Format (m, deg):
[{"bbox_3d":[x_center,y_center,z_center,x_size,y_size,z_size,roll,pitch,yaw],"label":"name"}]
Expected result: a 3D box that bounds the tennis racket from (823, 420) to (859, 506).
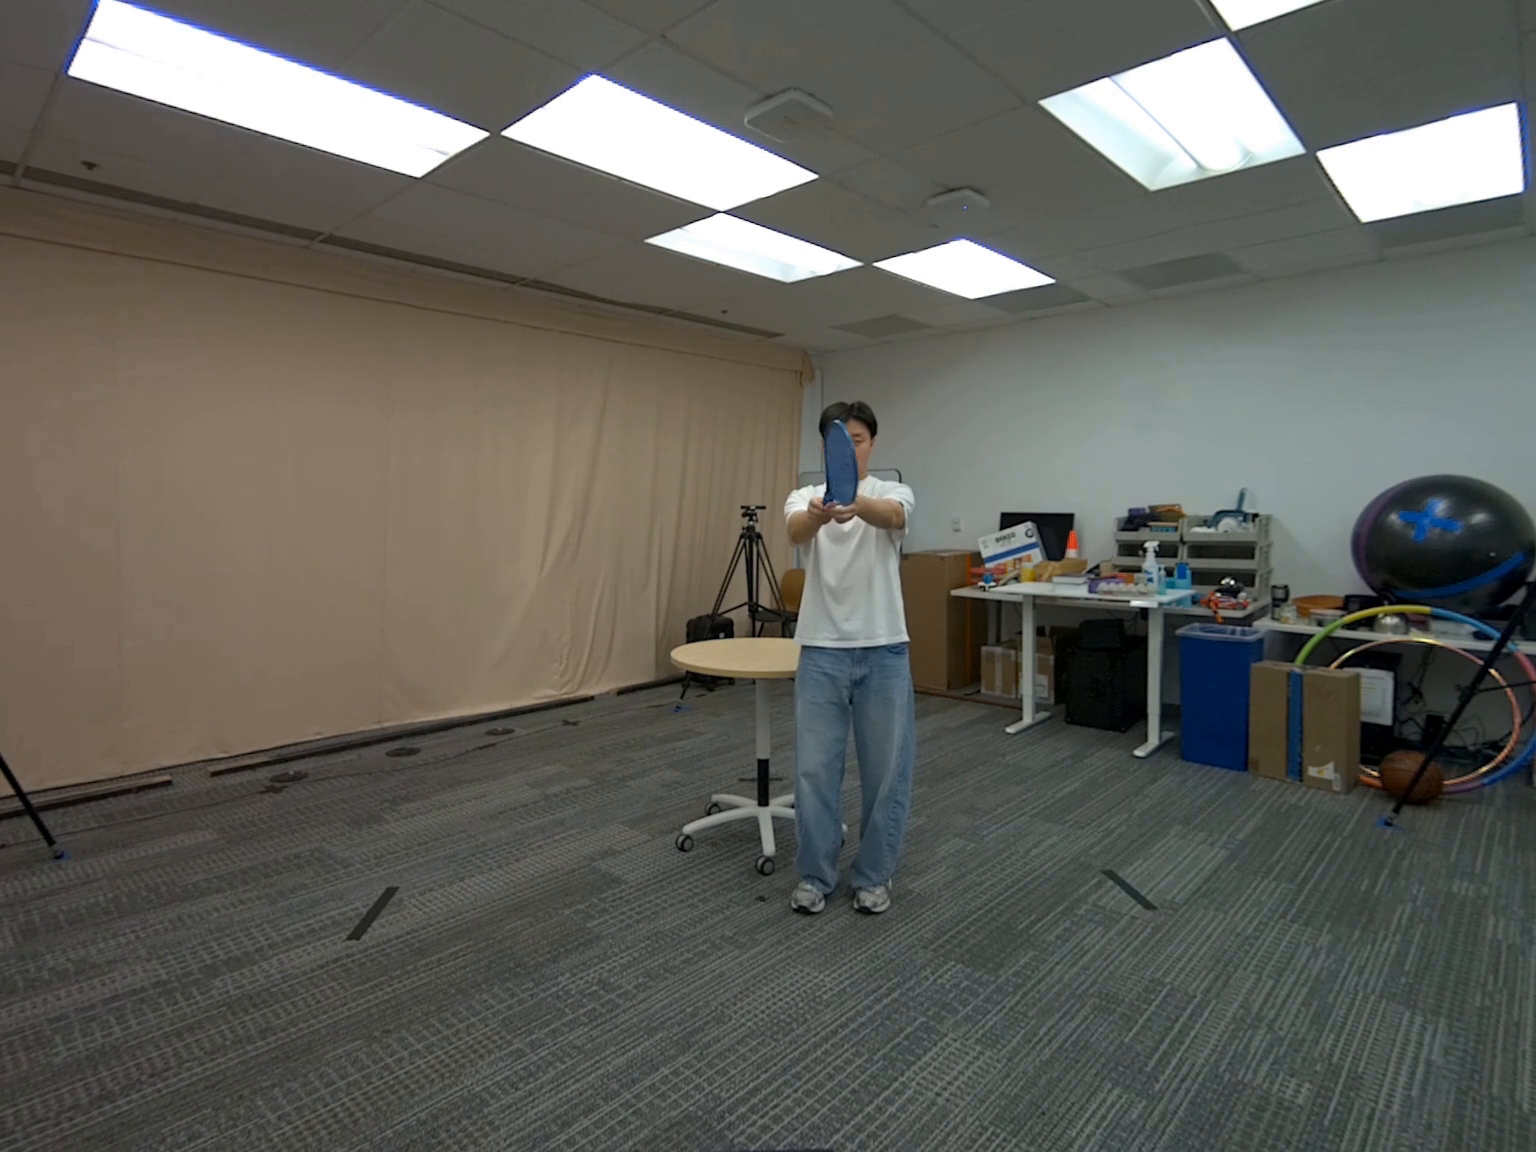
[{"bbox_3d":[0.182,-0.257,2.265,0.031,0.218,0.429,-13,-20,-11],"label":"tennis racket"}]
